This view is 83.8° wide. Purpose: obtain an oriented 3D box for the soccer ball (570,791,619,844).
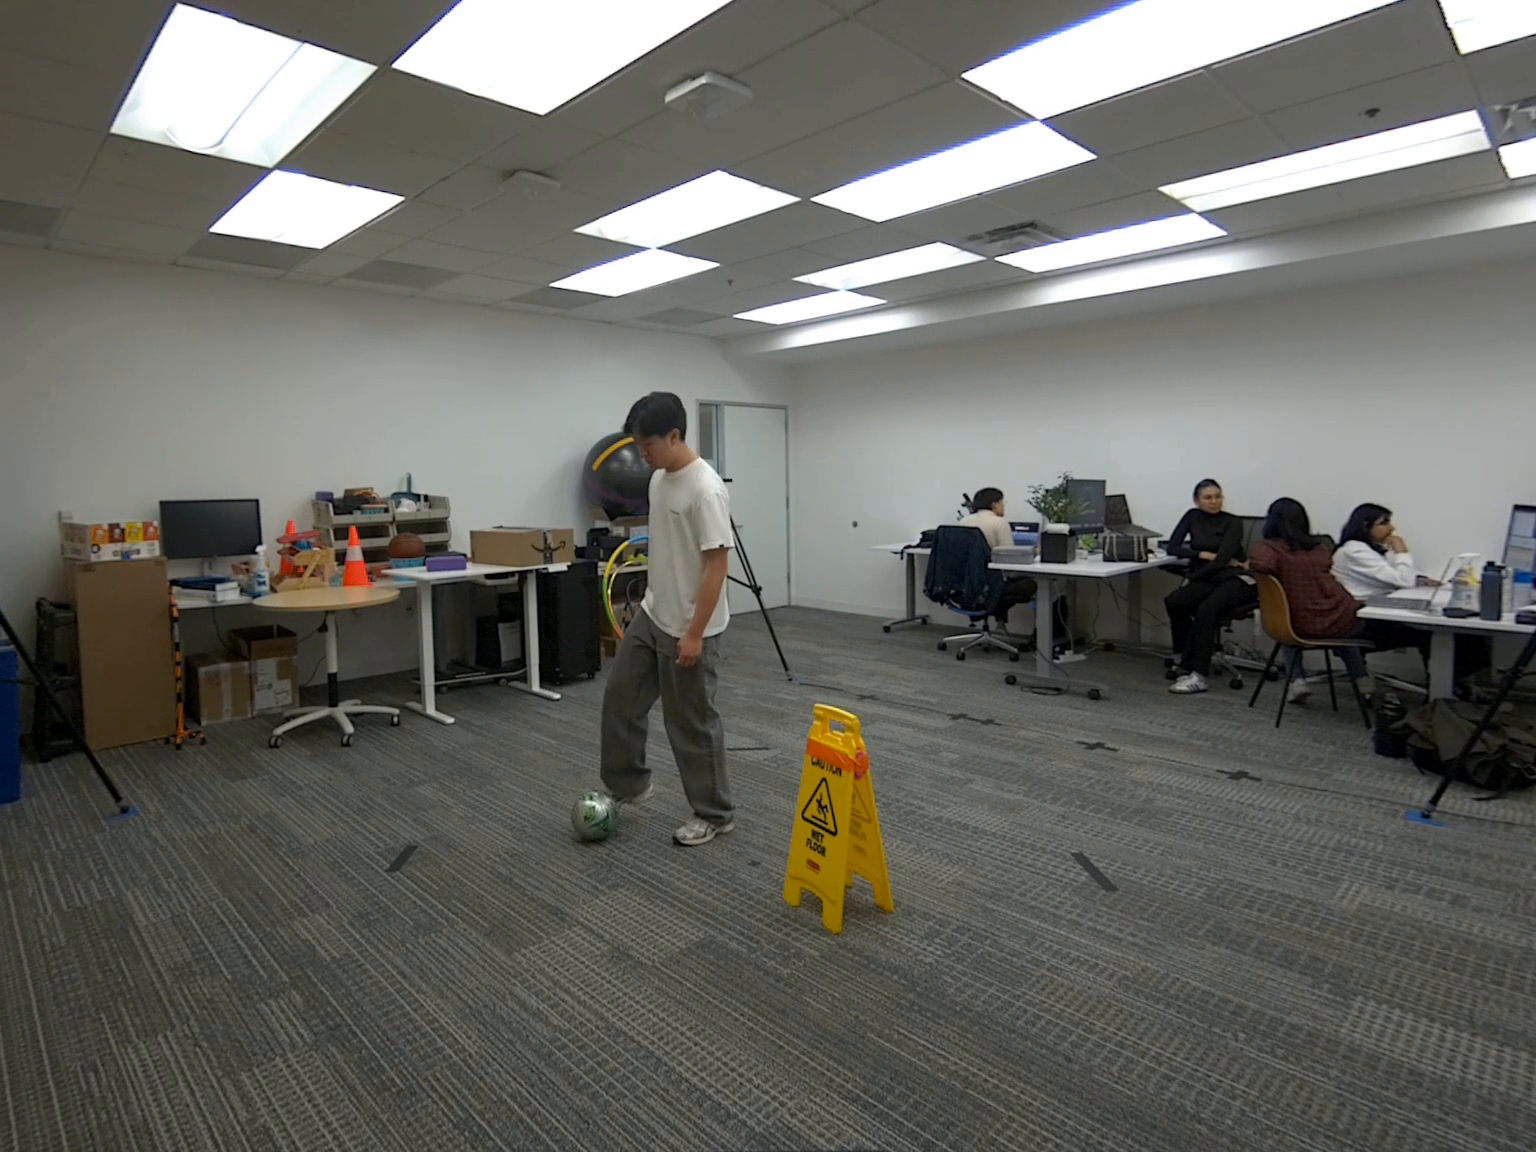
[{"bbox_3d":[-0.679,0.944,3.343,0.187,0.187,0.188,-1,5,-2],"label":"soccer ball"}]
